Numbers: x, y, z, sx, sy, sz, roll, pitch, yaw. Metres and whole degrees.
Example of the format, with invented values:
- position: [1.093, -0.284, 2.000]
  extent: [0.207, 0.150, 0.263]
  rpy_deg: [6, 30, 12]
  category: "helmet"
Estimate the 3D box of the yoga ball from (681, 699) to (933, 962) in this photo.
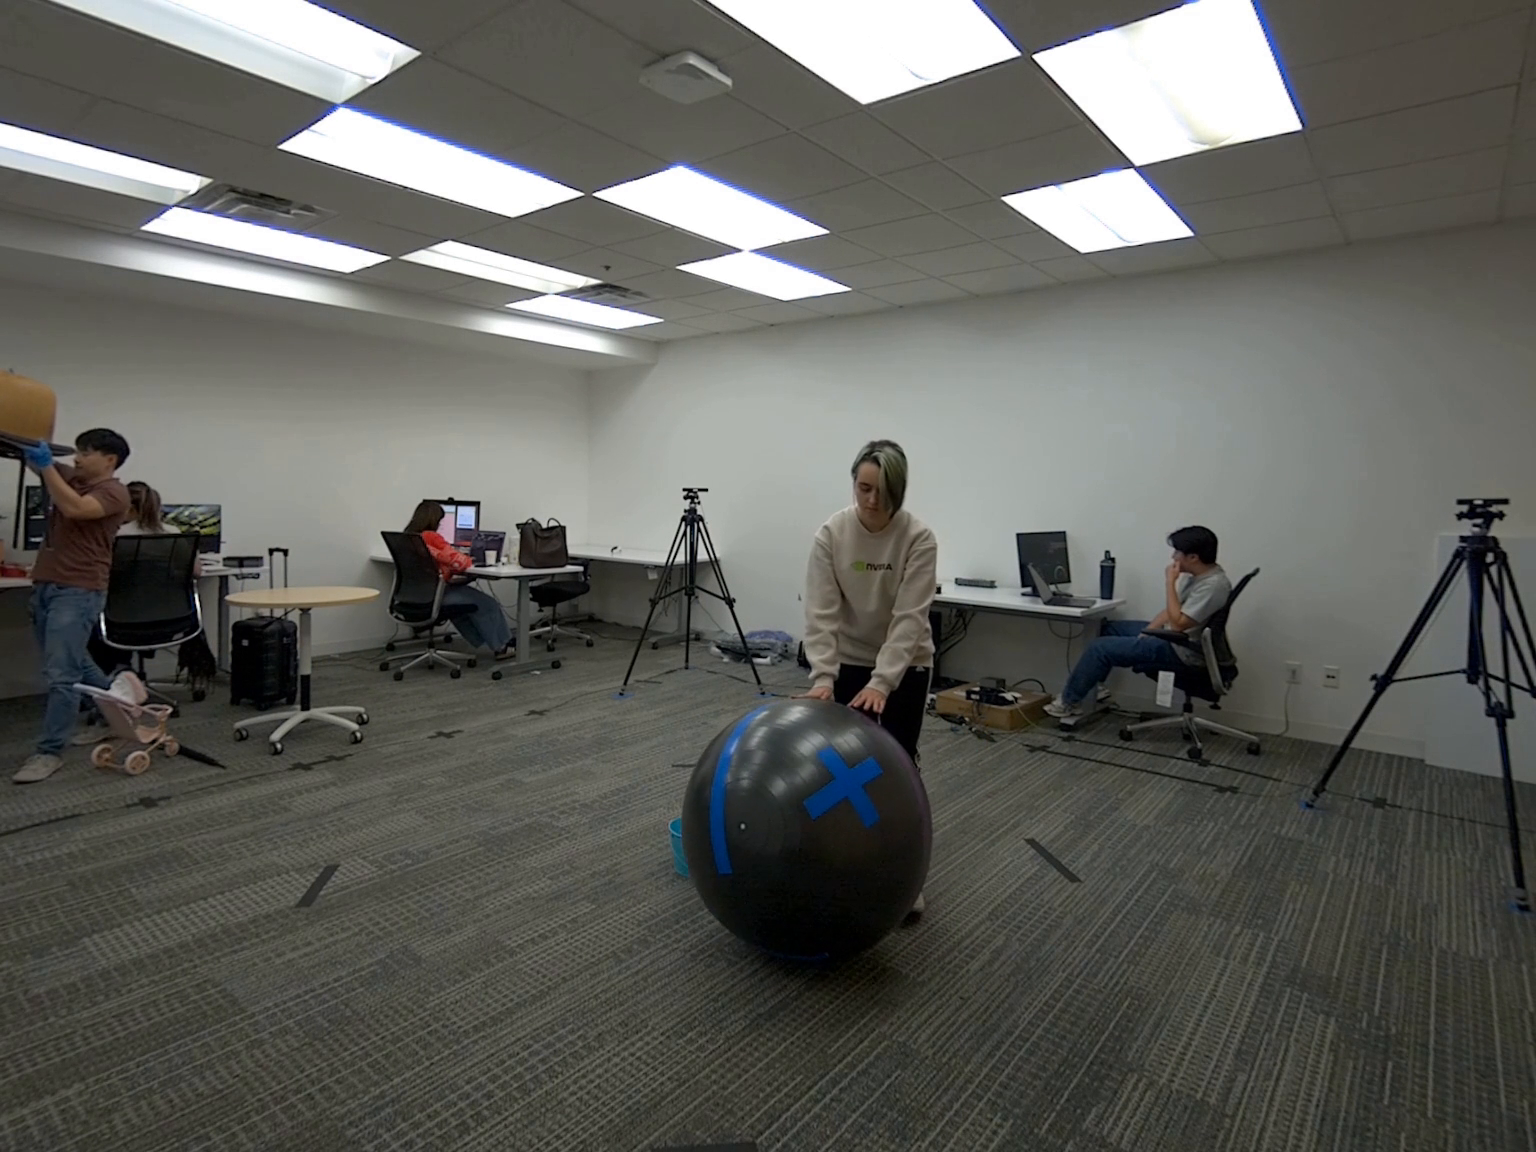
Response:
- position: [0.108, 0.766, 2.590]
  extent: [0.757, 0.755, 0.762]
  rpy_deg: [1, 4, -2]
  category: "yoga ball"
